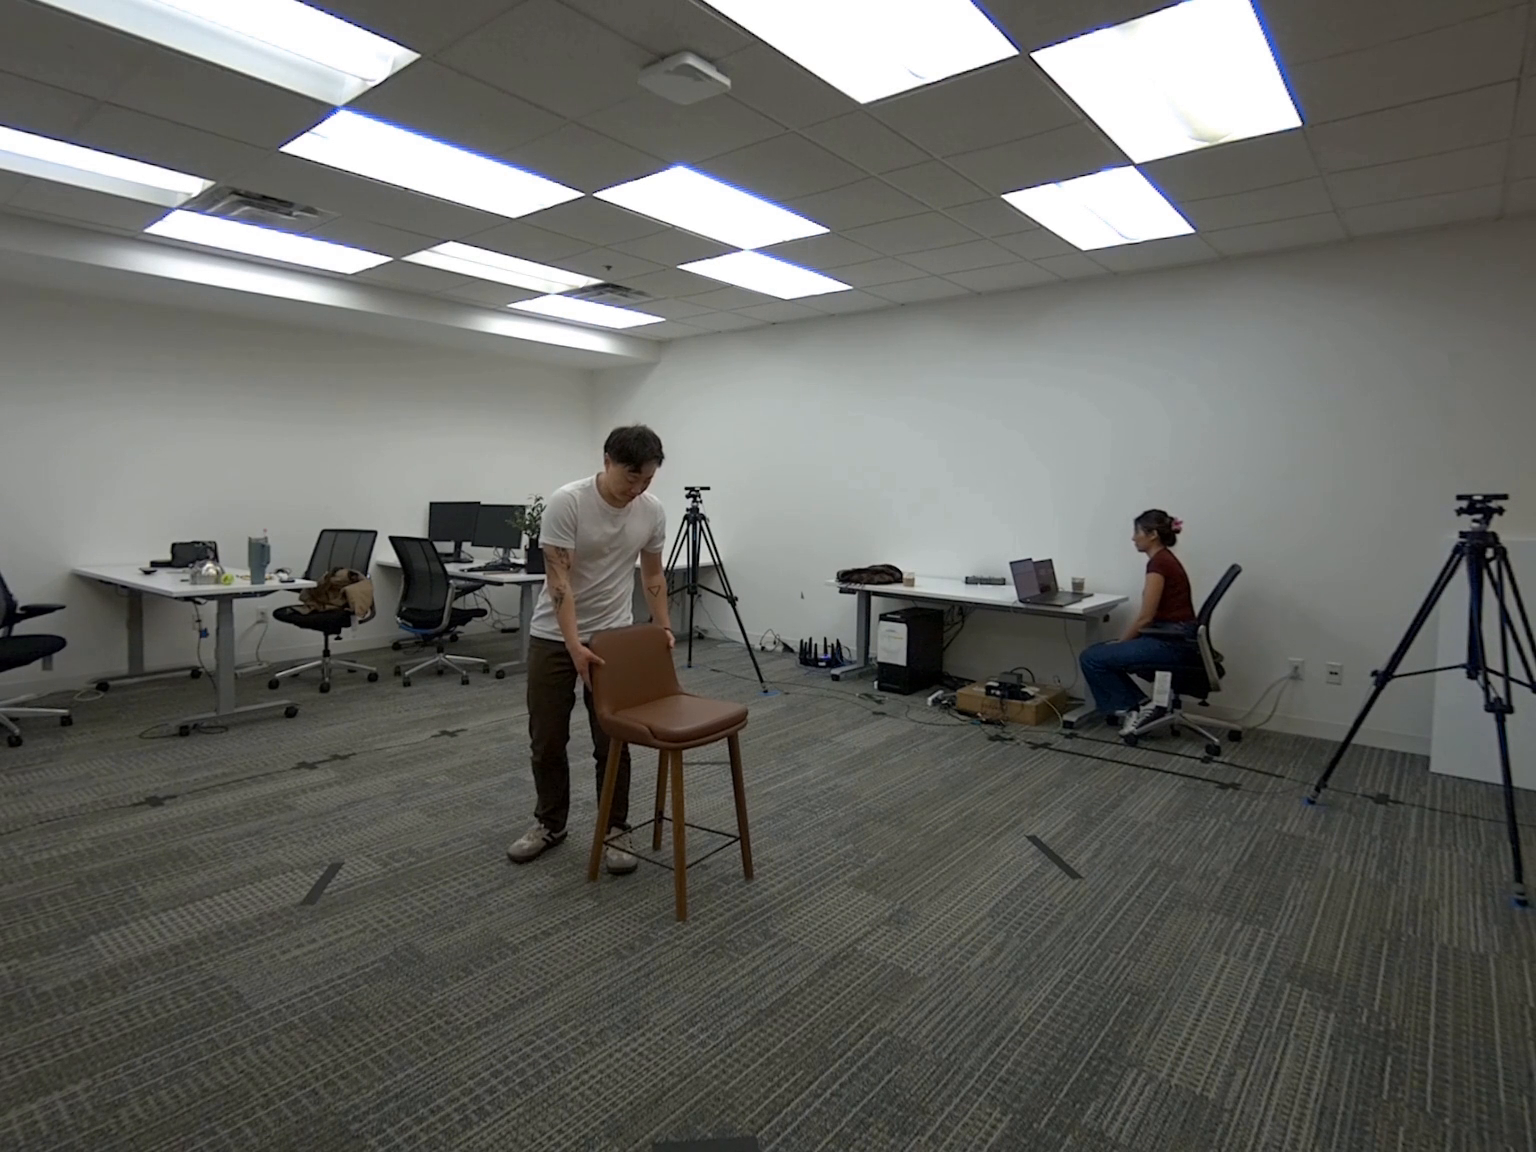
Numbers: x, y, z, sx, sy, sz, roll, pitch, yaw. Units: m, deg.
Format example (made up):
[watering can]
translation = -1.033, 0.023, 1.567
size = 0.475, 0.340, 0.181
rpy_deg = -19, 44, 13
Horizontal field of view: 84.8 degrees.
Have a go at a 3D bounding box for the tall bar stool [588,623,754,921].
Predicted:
[tall bar stool]
translation = -0.359, 0.634, 2.992
size = 0.482, 0.889, 0.443
rpy_deg = 0, 2, 36
